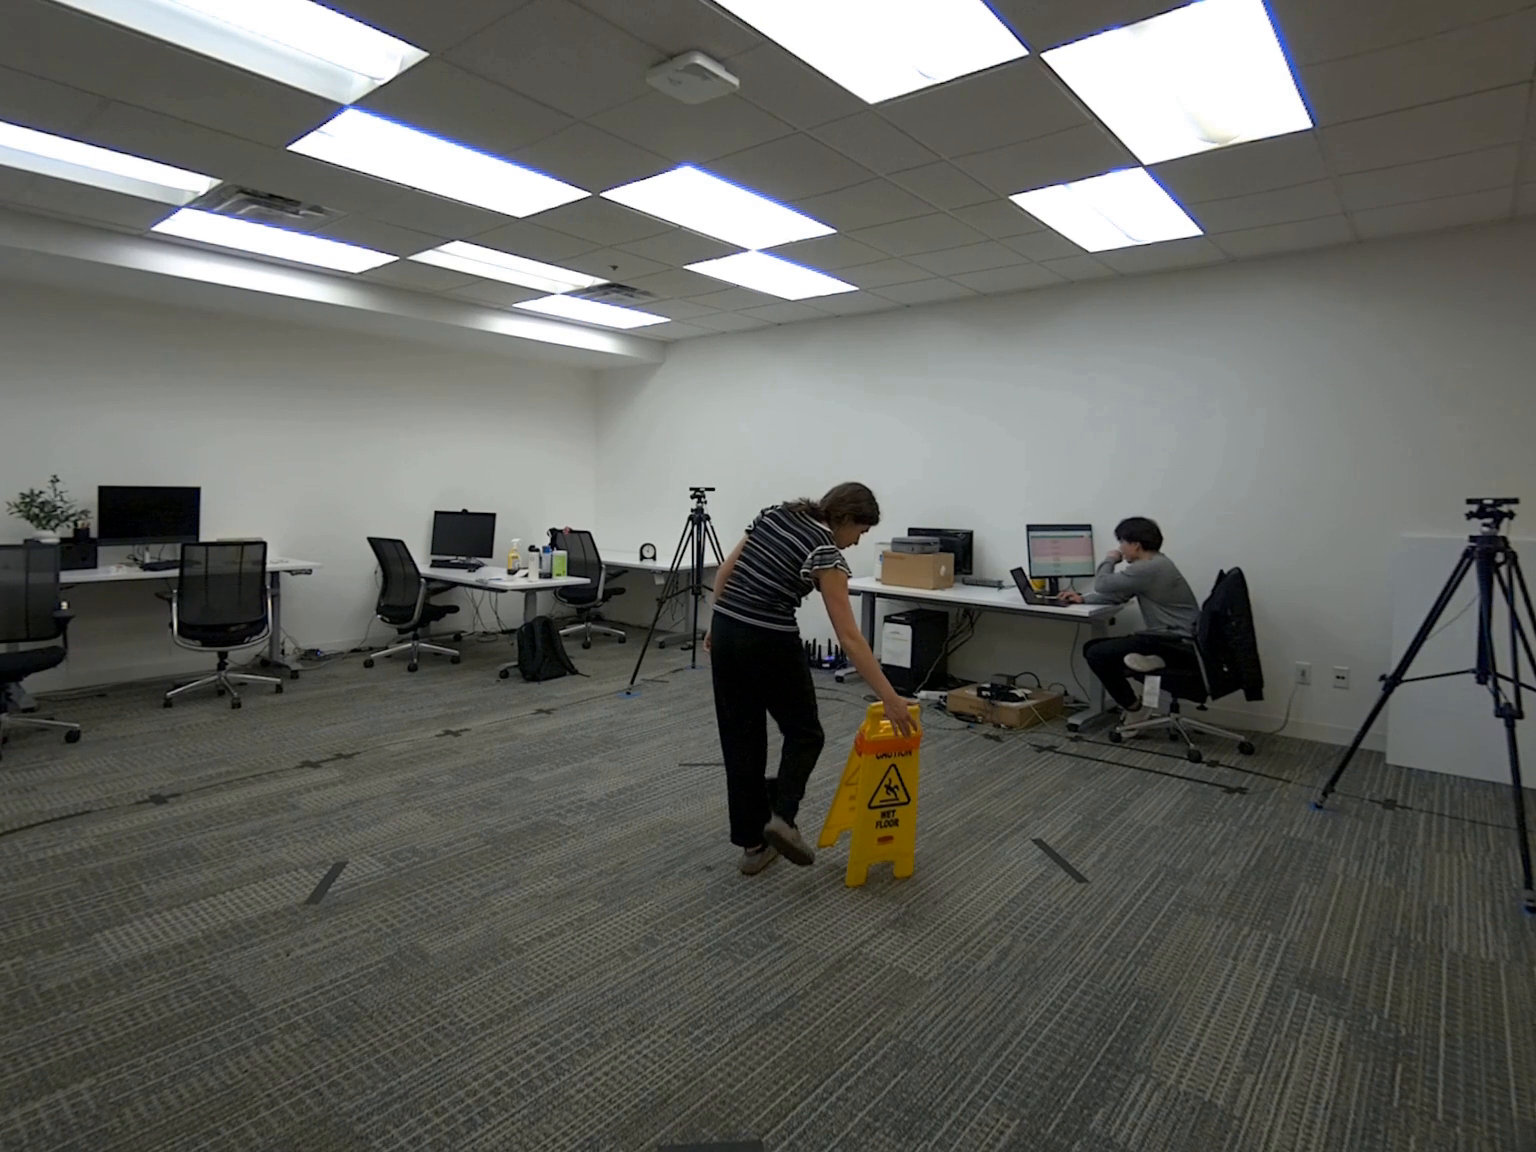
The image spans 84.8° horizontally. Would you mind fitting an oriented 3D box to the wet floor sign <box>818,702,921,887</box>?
[{"bbox_3d":[0.388,0.744,3.053,0.276,0.638,0.300,0,17,-24],"label":"wet floor sign"}]
